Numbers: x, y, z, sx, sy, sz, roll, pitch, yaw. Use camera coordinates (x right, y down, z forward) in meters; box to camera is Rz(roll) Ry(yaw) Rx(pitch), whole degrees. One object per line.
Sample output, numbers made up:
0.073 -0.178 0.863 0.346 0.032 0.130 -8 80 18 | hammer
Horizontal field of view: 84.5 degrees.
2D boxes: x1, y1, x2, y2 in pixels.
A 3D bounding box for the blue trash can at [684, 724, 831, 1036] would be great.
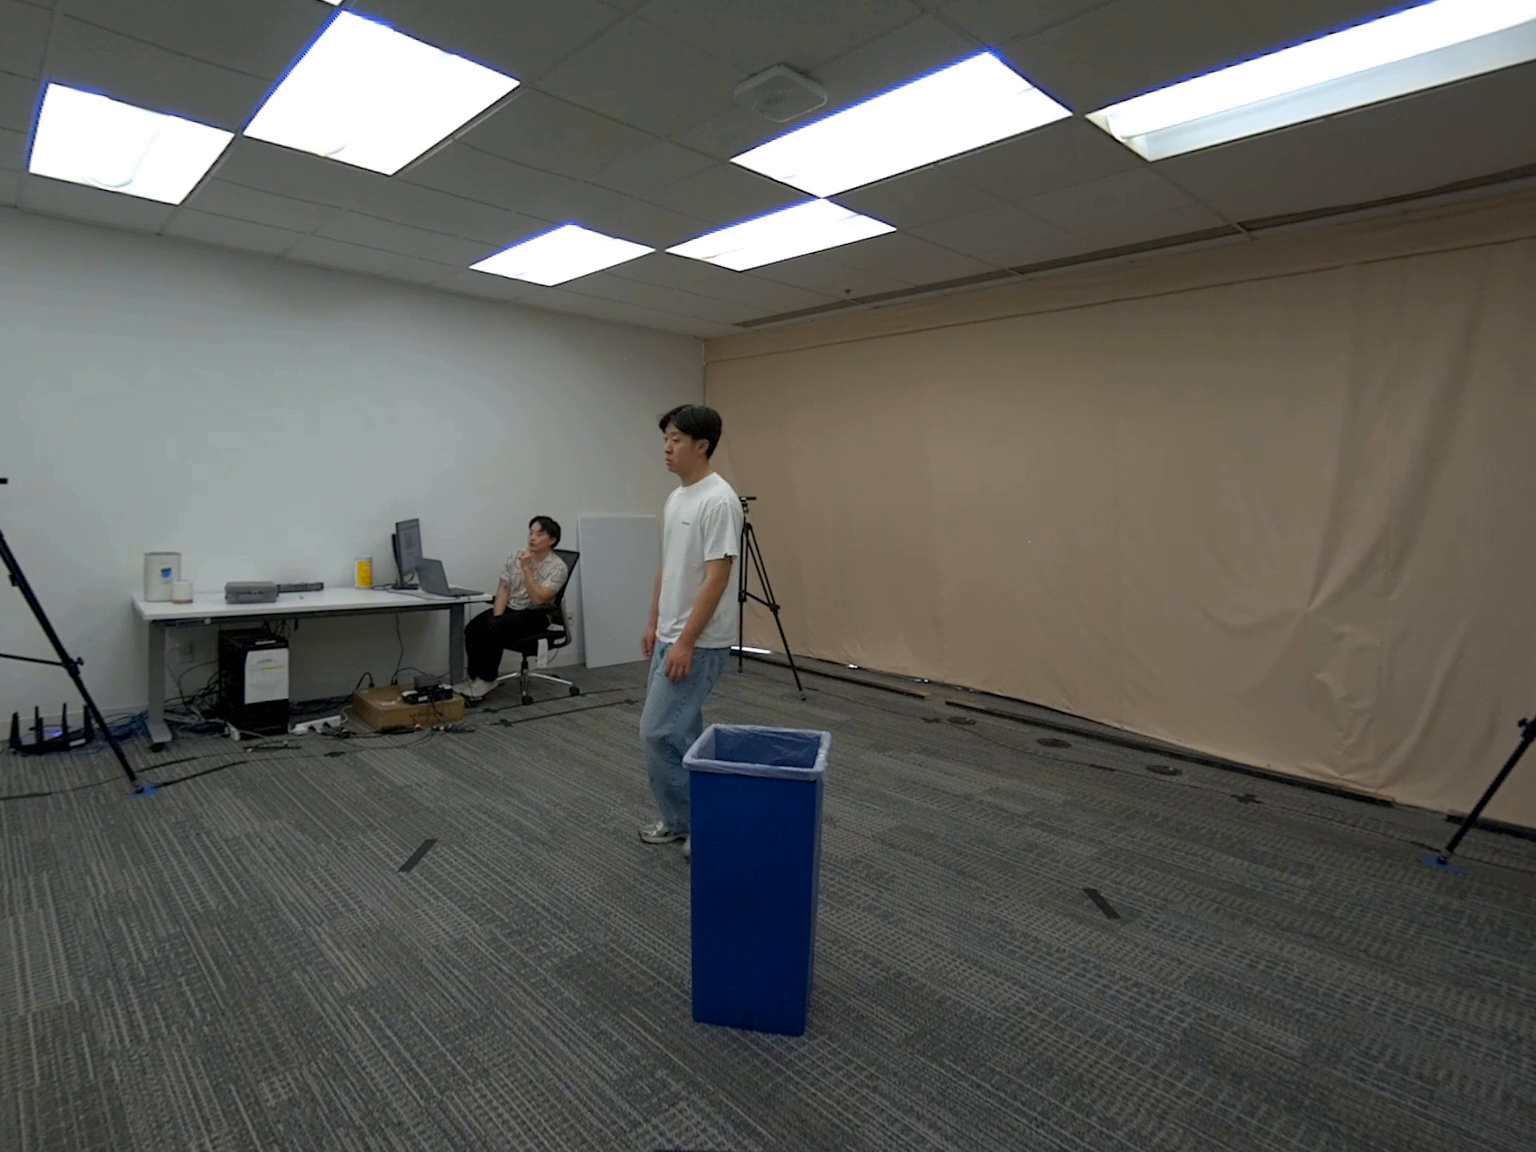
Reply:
-0.035 0.823 2.329 0.377 0.712 0.376 3 3 9 | blue trash can
